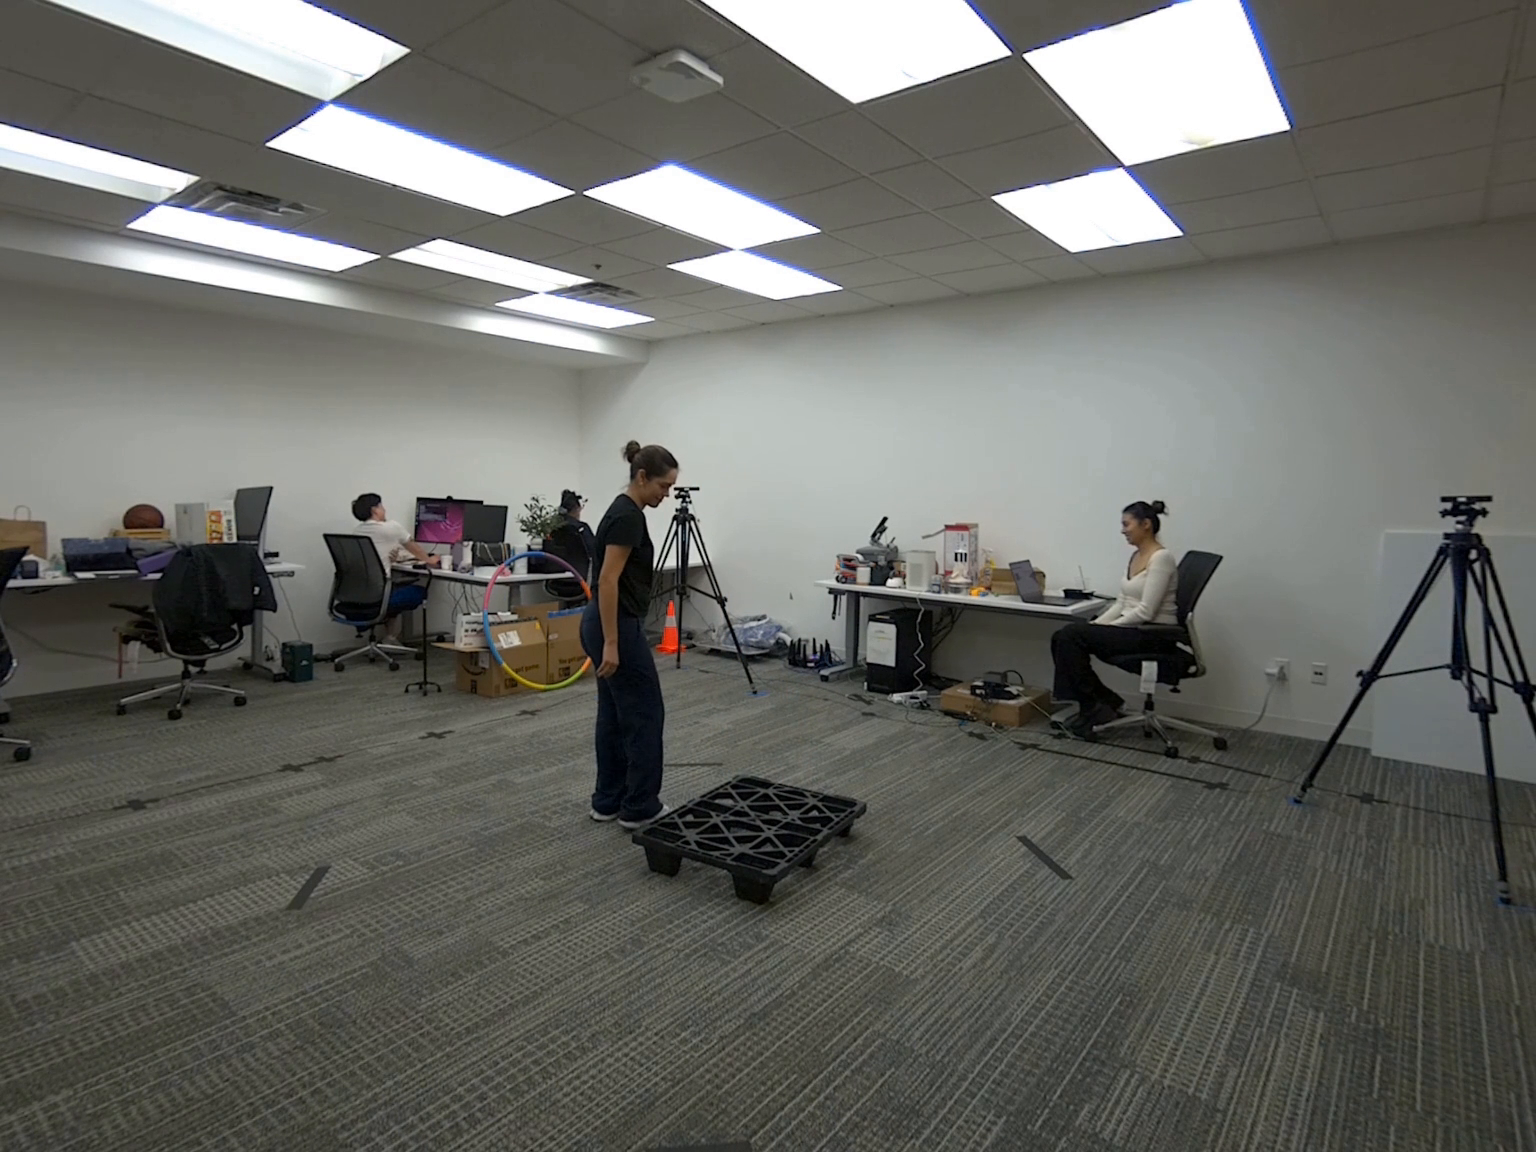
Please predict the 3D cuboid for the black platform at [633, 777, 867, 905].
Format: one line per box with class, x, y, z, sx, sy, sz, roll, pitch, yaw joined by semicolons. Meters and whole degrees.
black platform;-0.037;0.987;3.272;0.623;0.143;0.784;4;6;31
